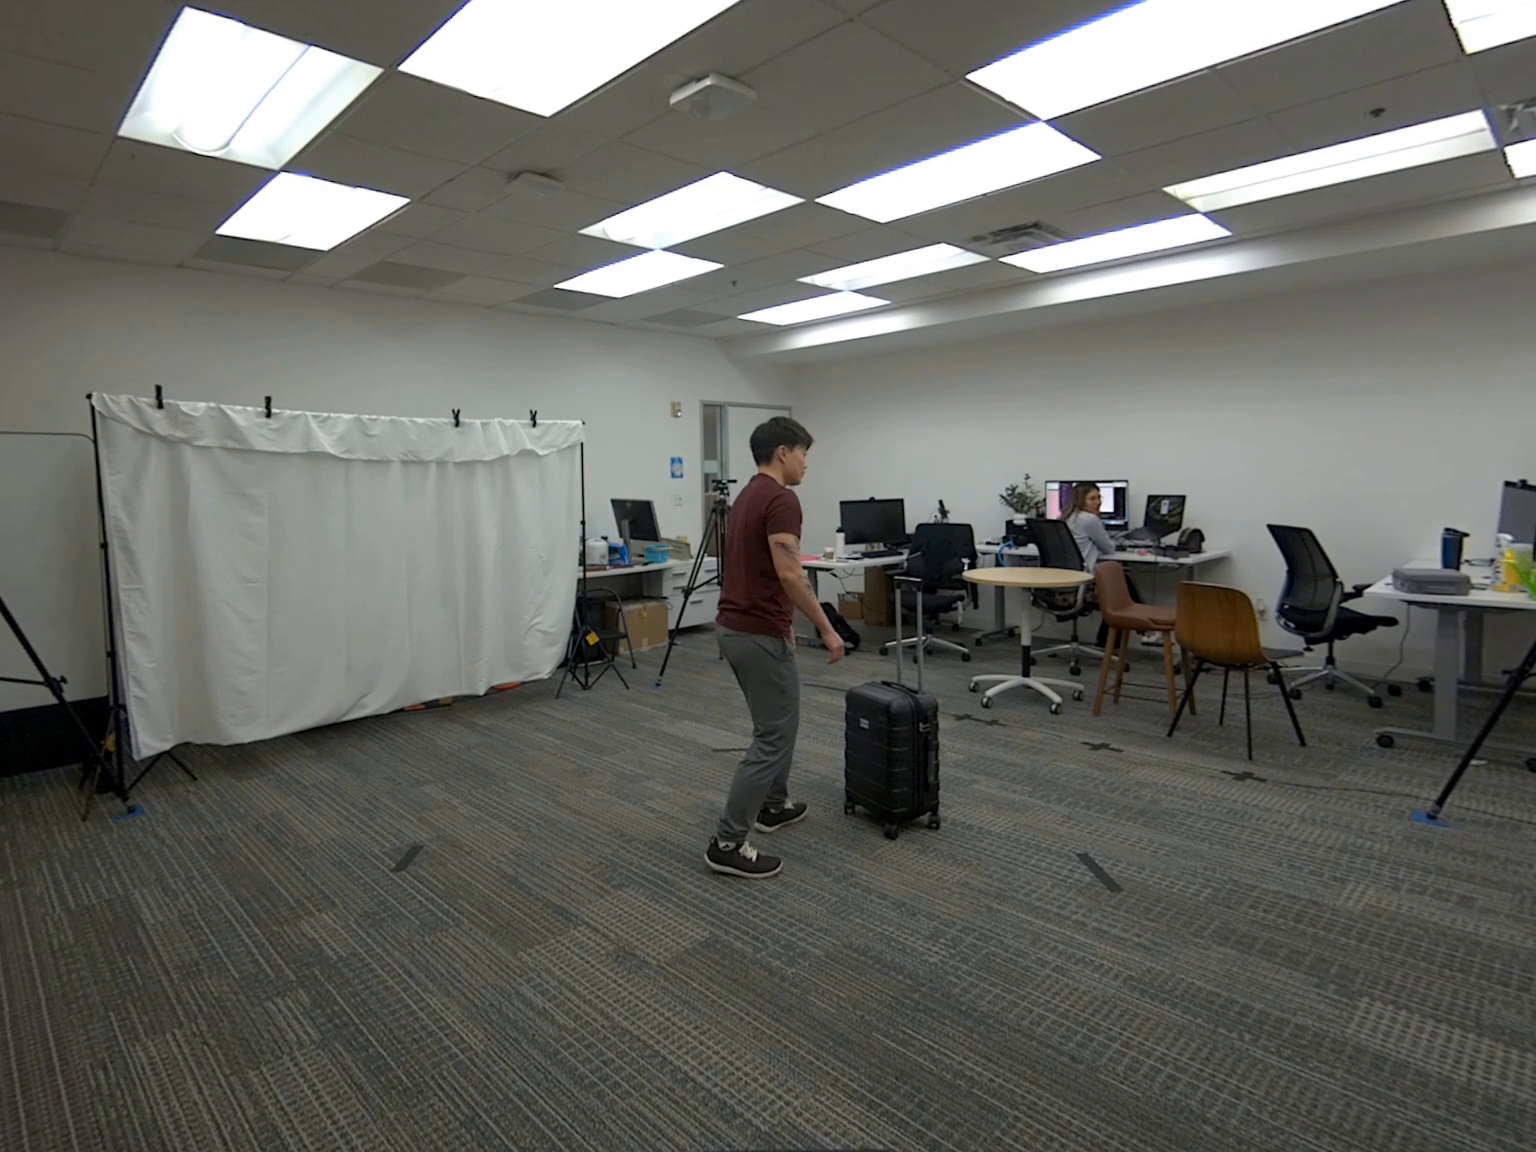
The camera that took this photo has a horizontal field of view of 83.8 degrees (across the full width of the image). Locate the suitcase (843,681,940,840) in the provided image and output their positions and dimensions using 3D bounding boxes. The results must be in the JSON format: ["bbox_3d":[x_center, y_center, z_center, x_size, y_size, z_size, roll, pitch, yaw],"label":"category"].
[{"bbox_3d":[0.495,0.512,3.477,0.251,0.976,0.393,-3,3,-28],"label":"suitcase"}]
